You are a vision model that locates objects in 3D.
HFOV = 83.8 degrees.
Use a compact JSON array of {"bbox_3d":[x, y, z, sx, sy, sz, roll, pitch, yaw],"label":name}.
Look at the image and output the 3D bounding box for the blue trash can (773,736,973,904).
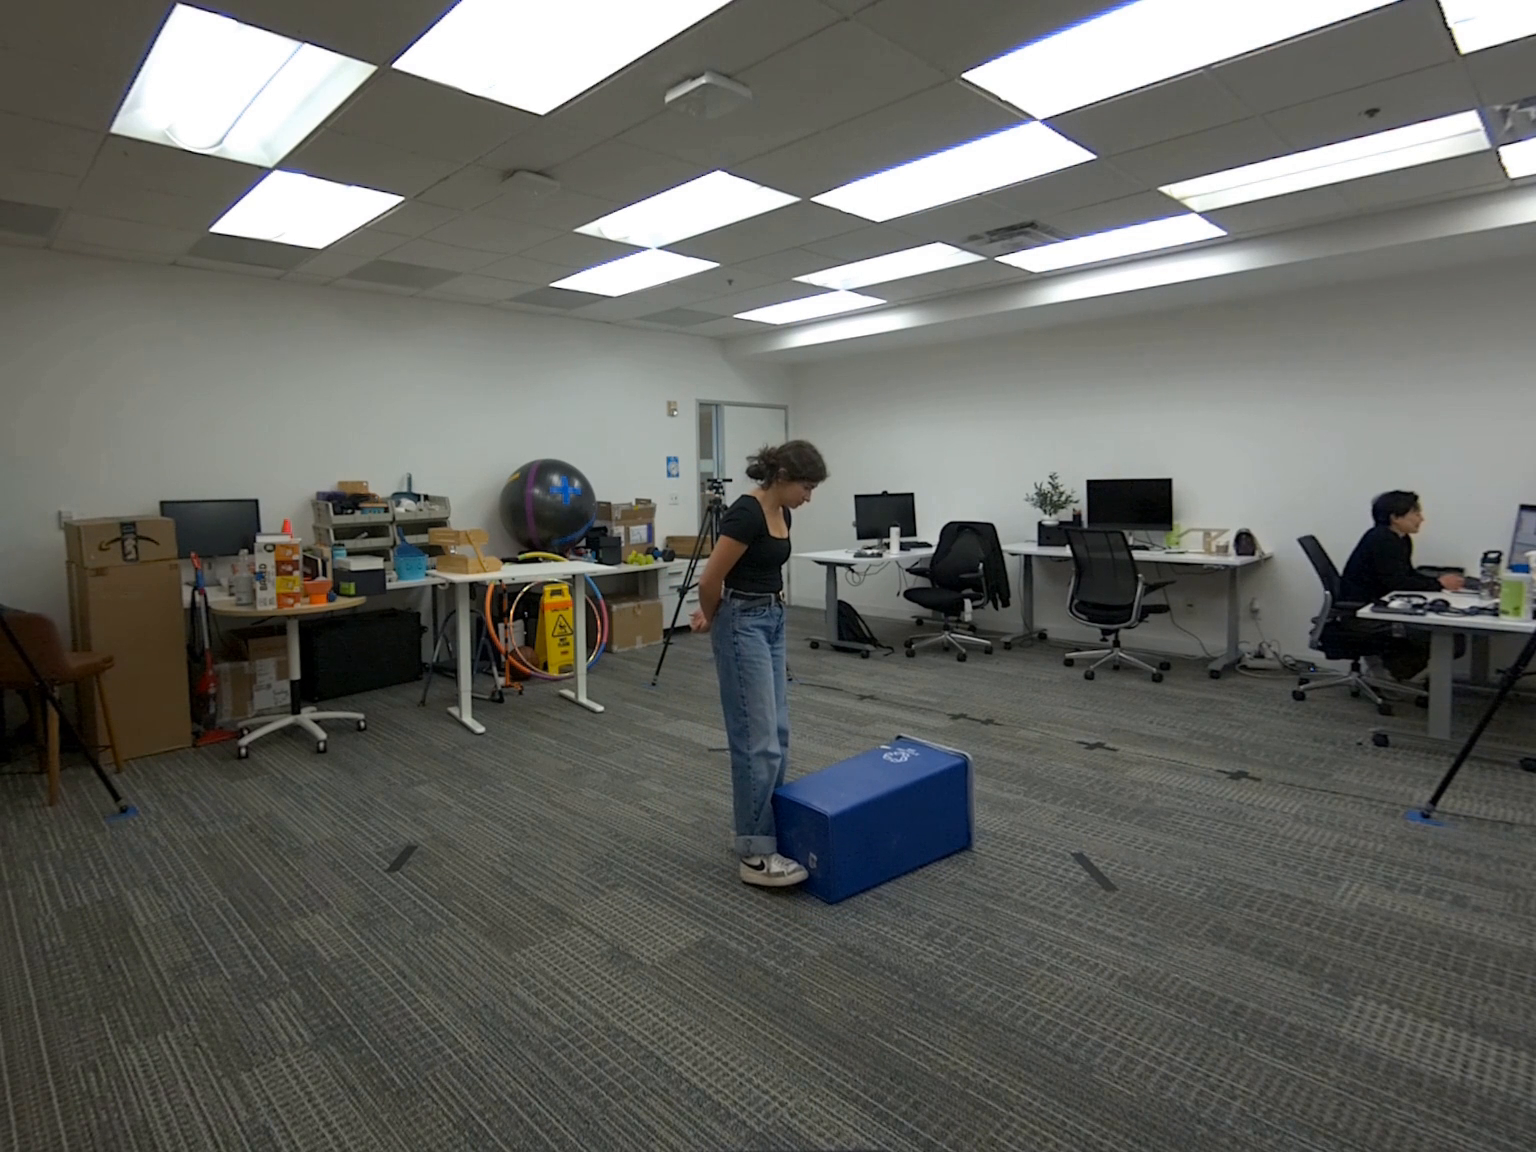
[{"bbox_3d":[0.383,0.870,3.096,0.696,0.376,0.385,-9,9,-39],"label":"blue trash can"}]
